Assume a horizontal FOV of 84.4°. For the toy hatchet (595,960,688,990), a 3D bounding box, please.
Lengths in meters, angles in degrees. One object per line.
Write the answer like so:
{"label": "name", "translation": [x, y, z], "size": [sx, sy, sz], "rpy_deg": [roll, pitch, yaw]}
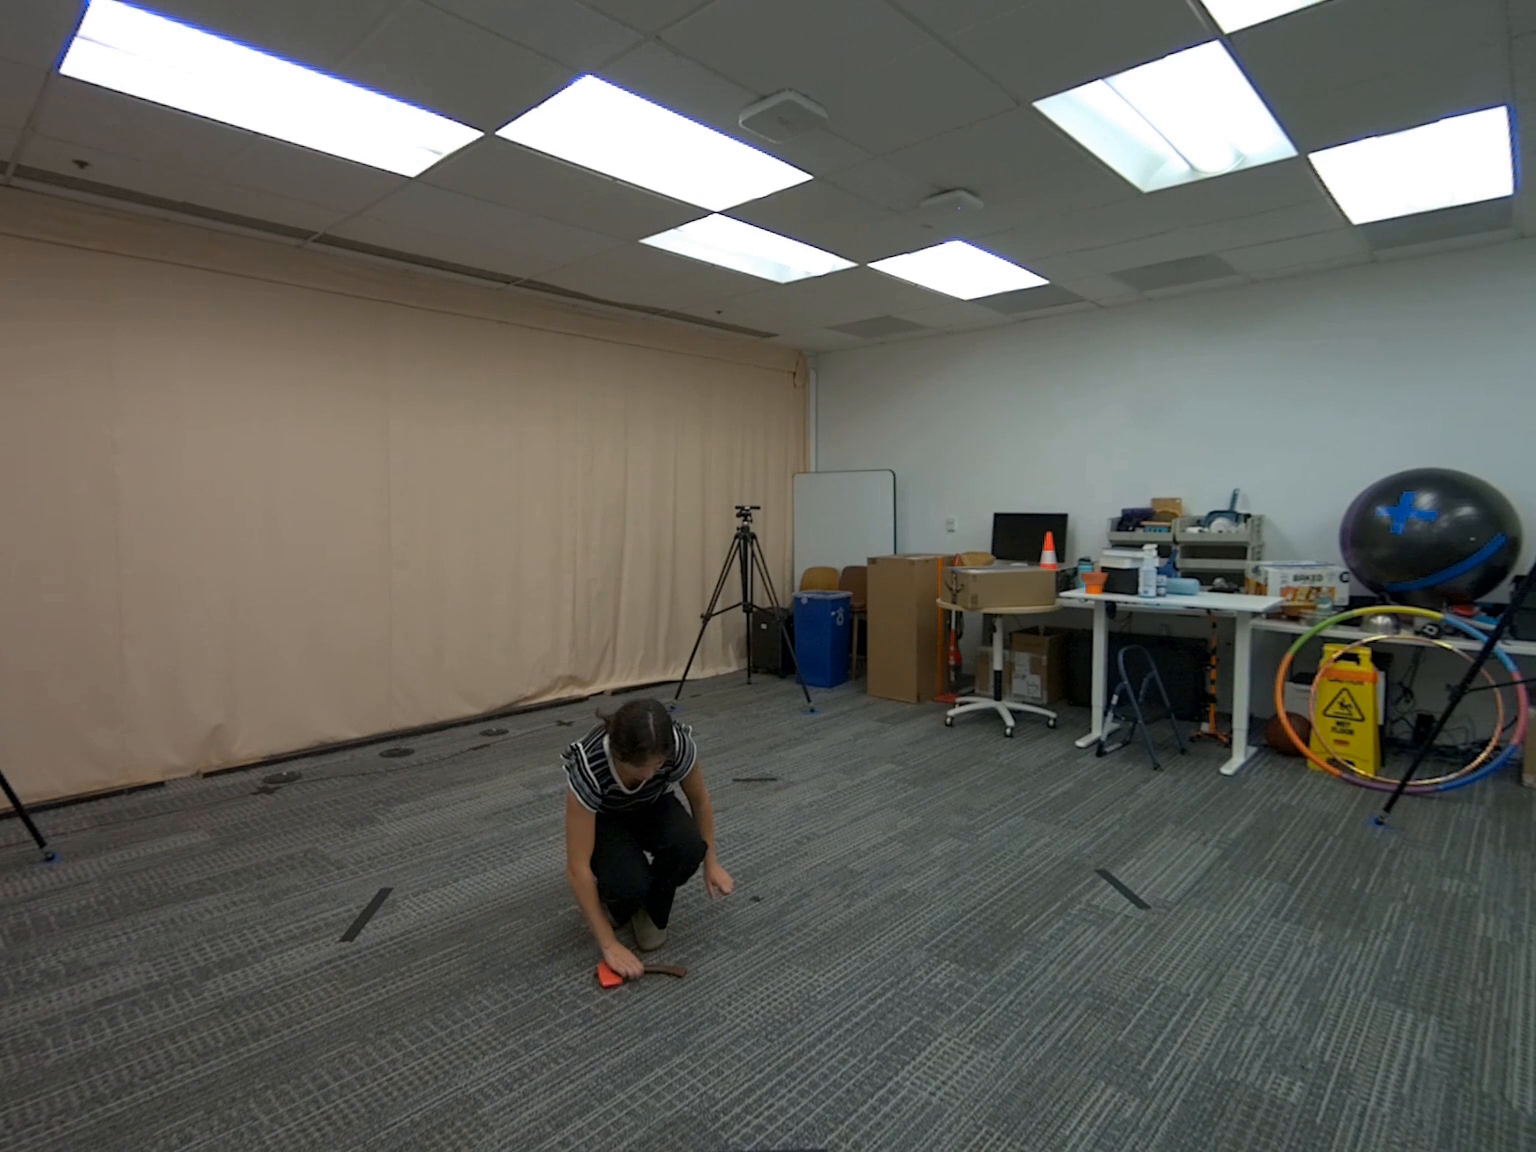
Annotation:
{"label": "toy hatchet", "translation": [-0.375, 1.172, 2.470], "size": [0.273, 0.029, 0.130], "rpy_deg": [0, 4, 10]}
